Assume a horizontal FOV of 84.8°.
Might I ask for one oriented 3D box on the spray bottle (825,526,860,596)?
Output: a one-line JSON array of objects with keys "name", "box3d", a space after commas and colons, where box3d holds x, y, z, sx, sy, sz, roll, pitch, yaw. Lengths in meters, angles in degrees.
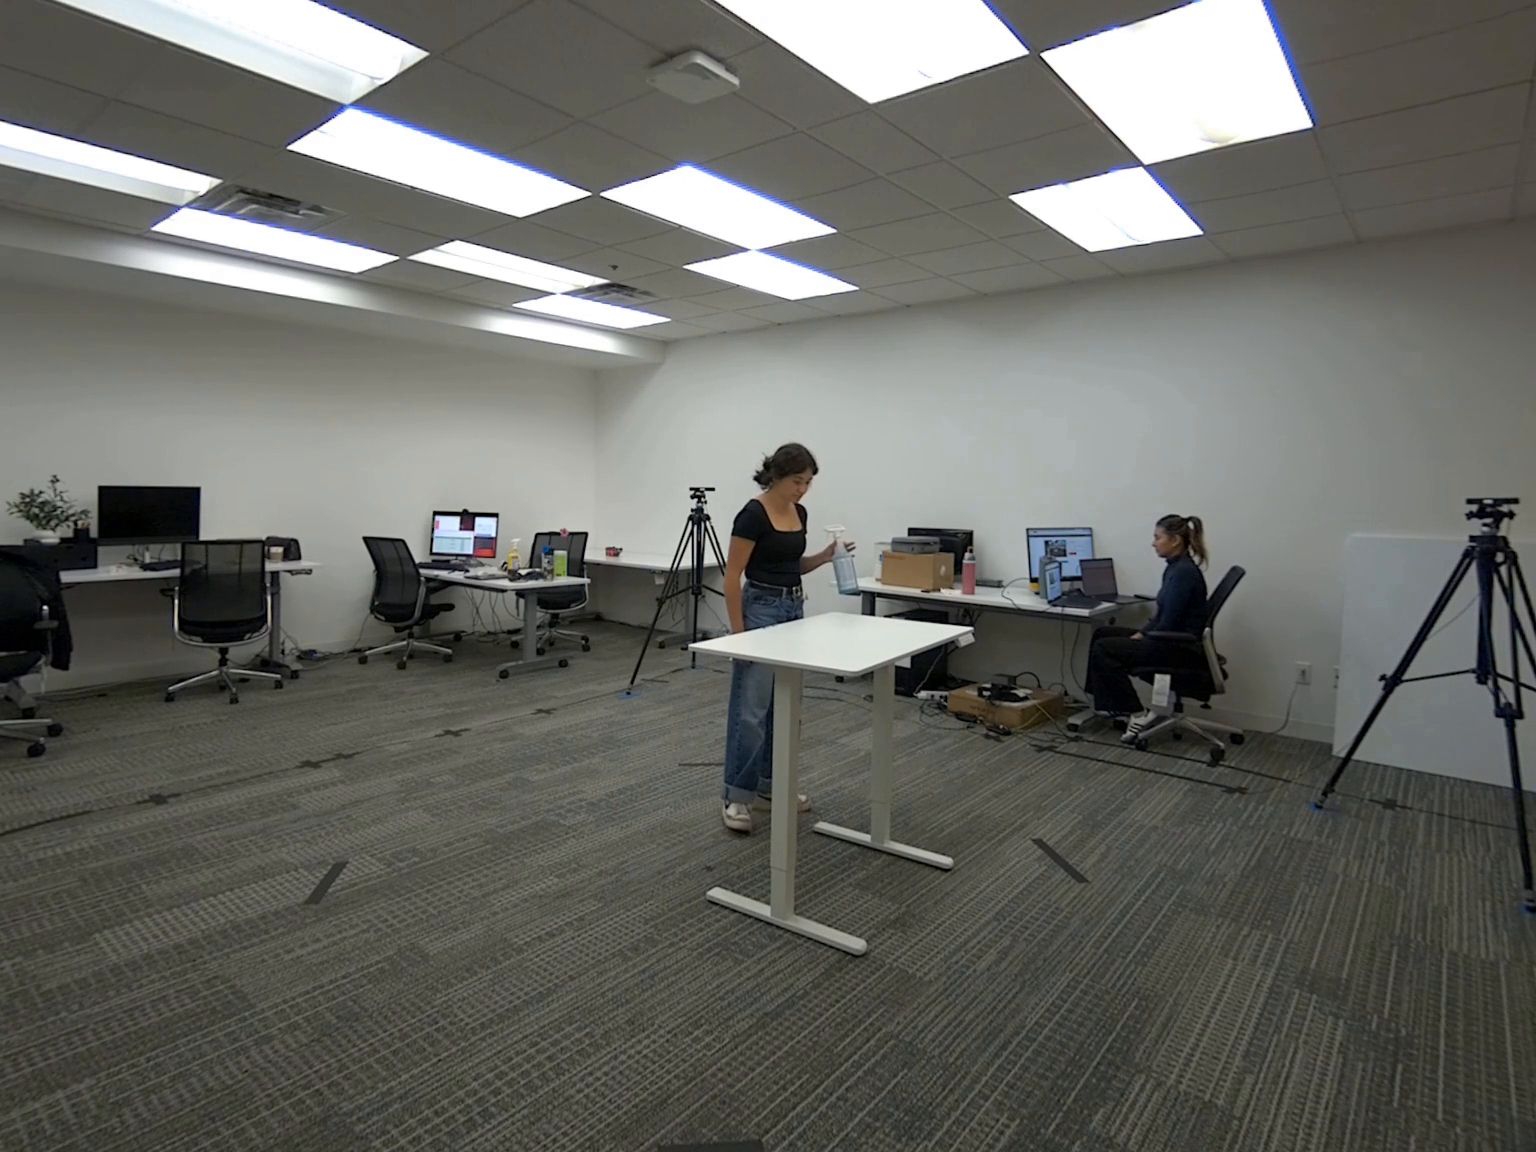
[{"name": "spray bottle", "box3d": [0.301, -0.075, 3.618, 0.092, 0.300, 0.084, -17, -9, 28]}]
